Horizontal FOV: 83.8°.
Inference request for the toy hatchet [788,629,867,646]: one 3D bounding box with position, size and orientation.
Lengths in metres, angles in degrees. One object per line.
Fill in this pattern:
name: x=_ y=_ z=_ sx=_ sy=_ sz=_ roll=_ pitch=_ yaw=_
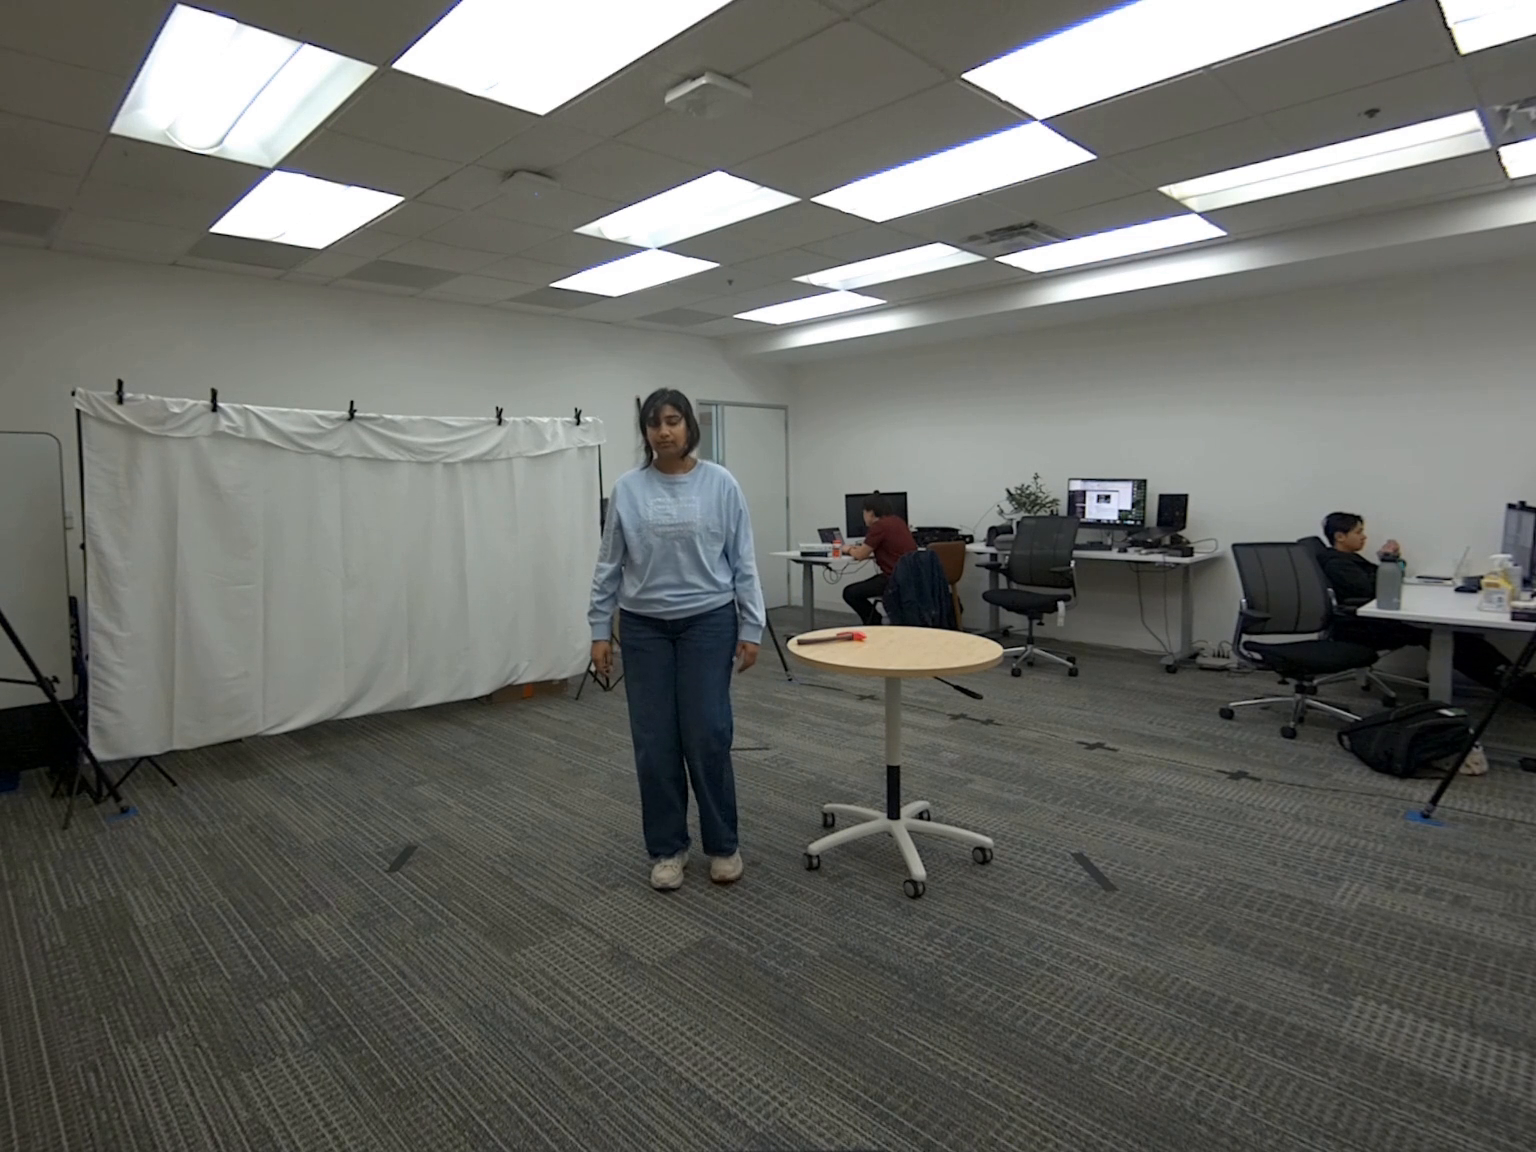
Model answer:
toy hatchet: x=0.224 y=0.228 z=3.222 sx=0.268 sy=0.029 sz=0.133 roll=-3 pitch=8 yaw=-8
